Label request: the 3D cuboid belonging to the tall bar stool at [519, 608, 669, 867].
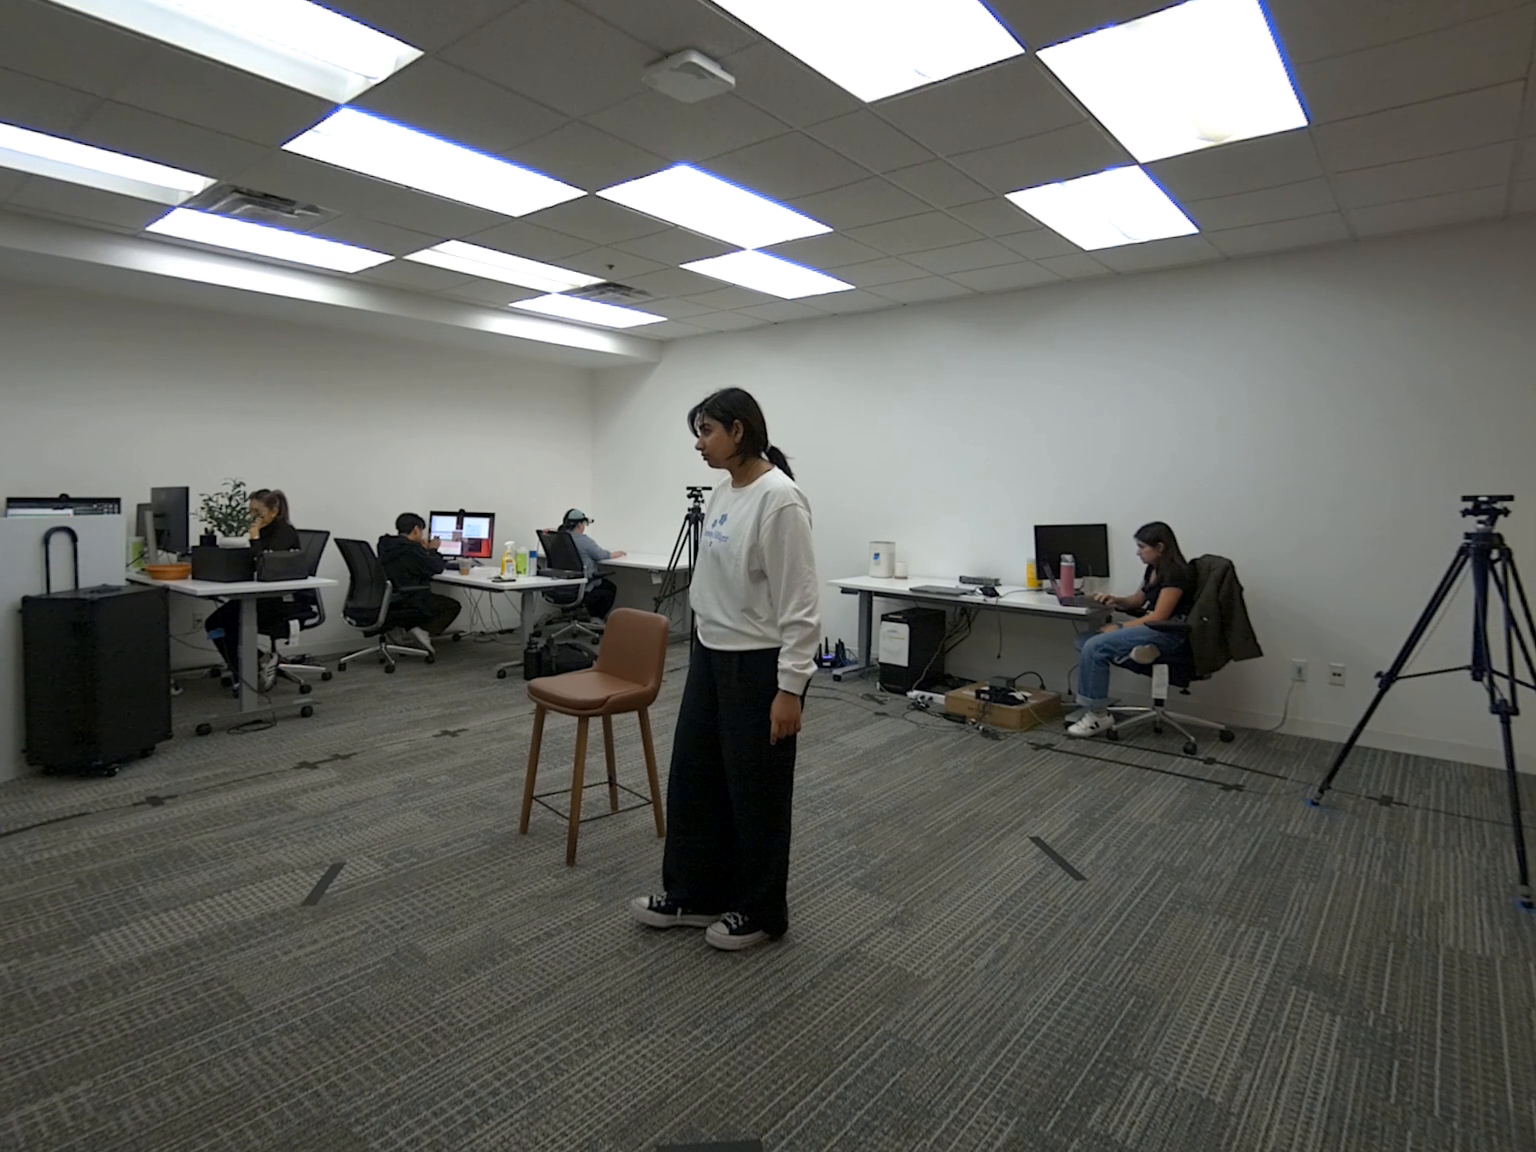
[{"bbox_3d":[-0.688,0.597,3.377,0.453,0.888,0.472,1,2,-42],"label":"tall bar stool"}]
